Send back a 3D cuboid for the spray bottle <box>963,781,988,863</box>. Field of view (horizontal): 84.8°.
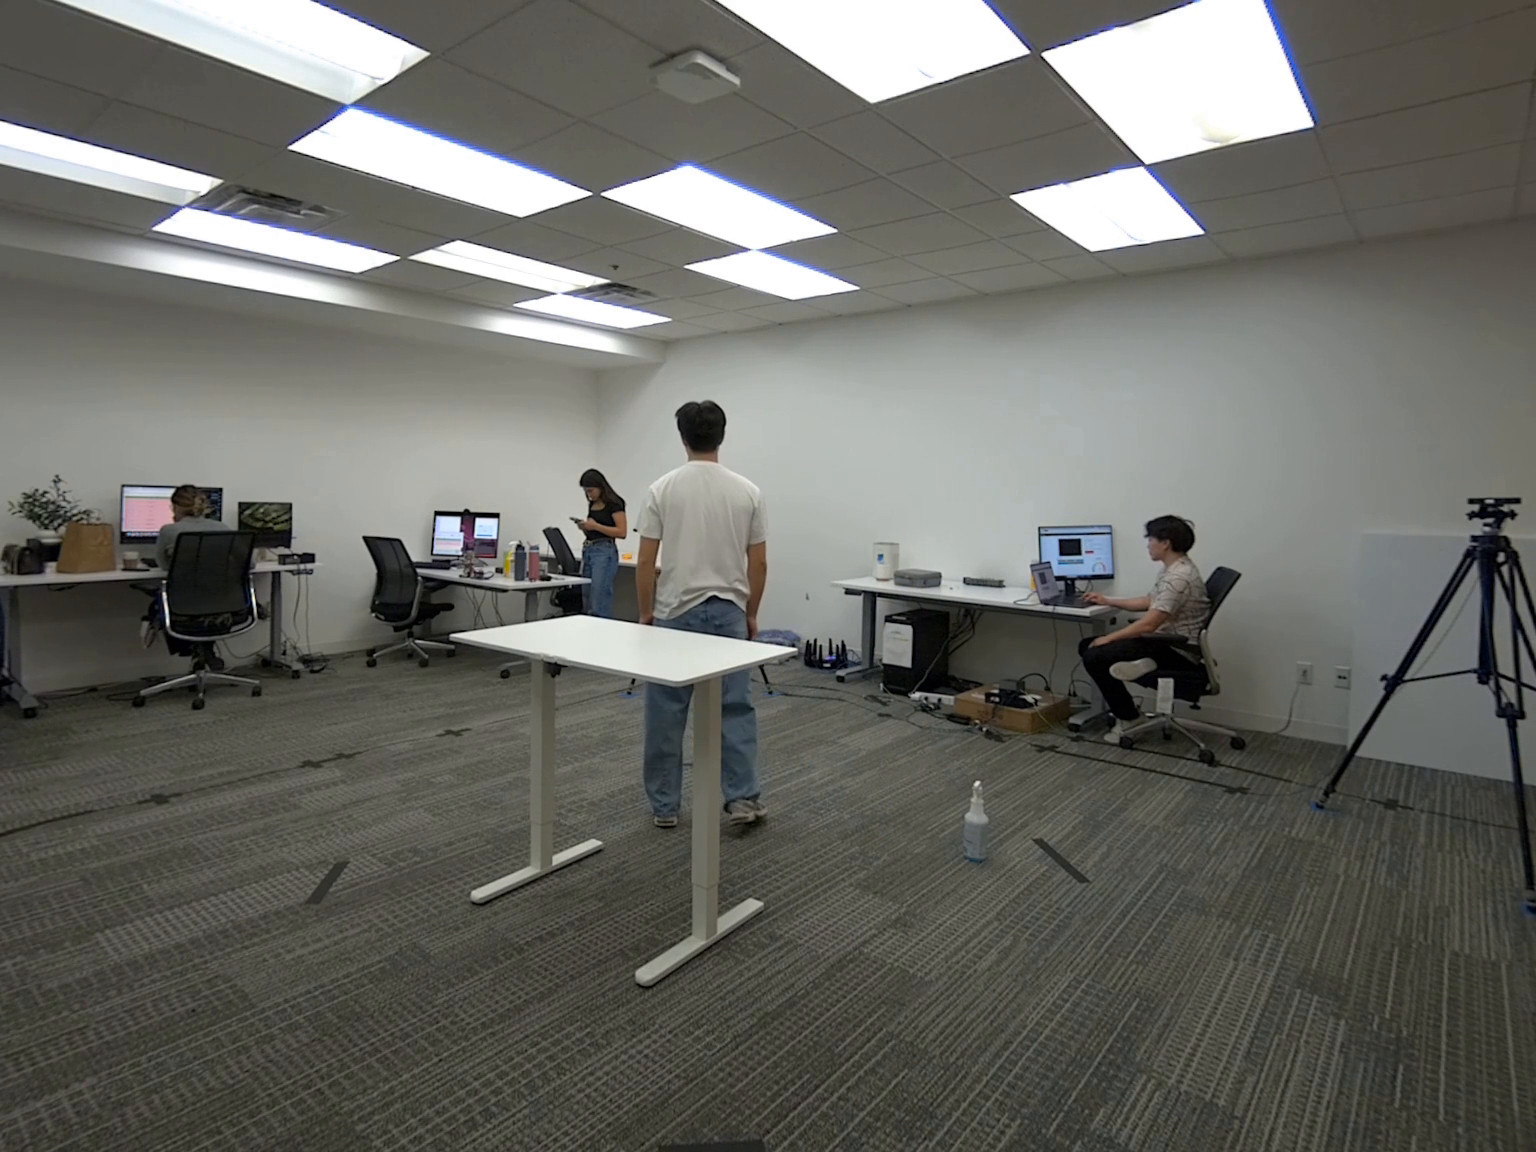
[{"bbox_3d":[0.795,0.933,3.252,0.087,0.296,0.090,-3,6,-42],"label":"spray bottle"}]
